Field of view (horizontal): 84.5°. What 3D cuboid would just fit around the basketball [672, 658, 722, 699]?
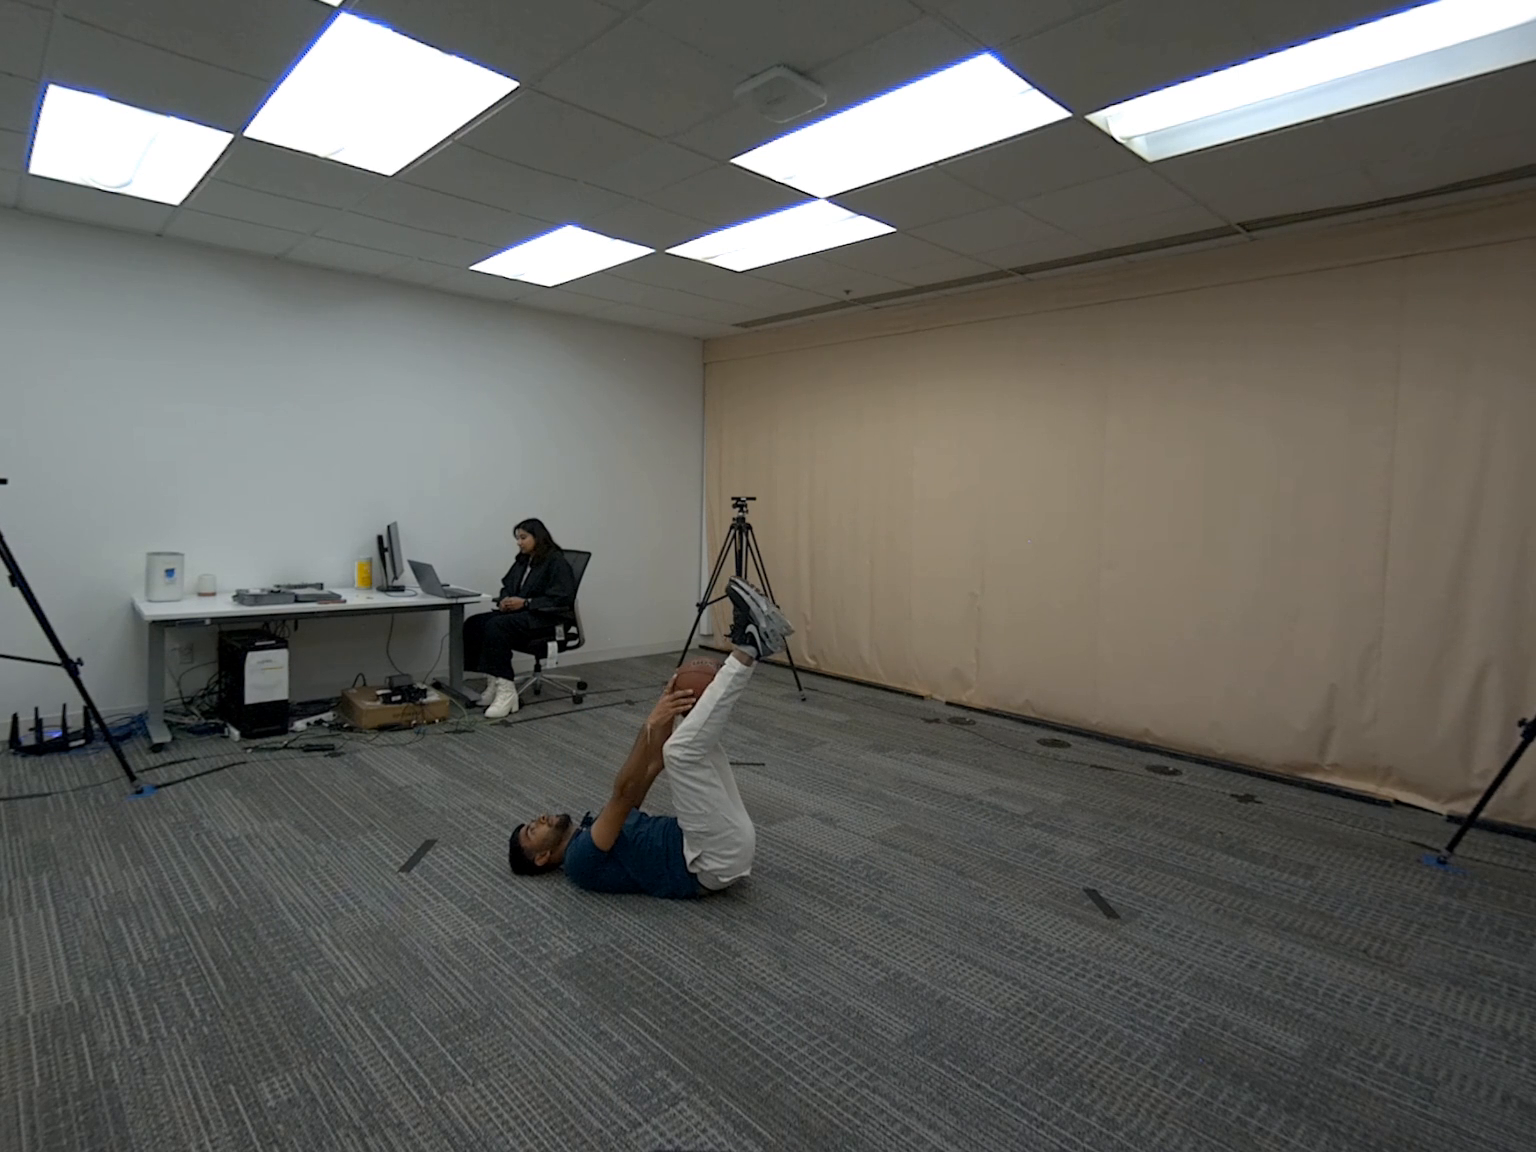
[{"bbox_3d":[-0.251,0.392,2.984,0.236,0.235,0.237,1,4,-1],"label":"basketball"}]
